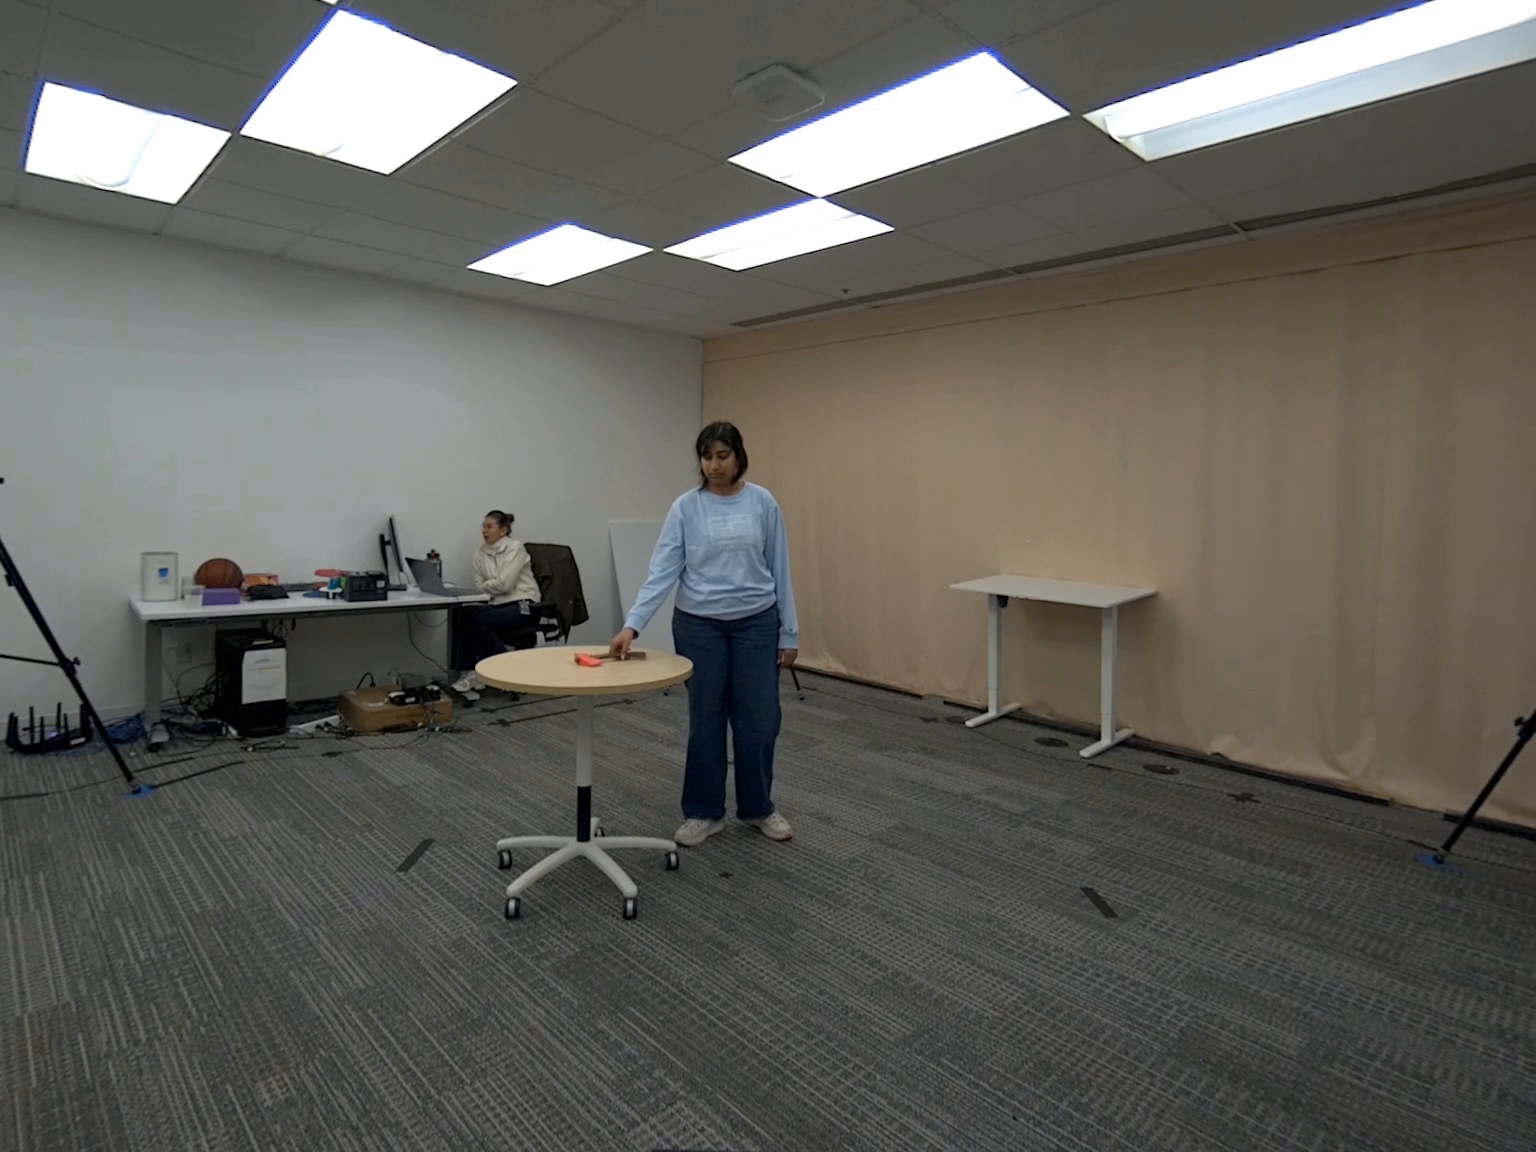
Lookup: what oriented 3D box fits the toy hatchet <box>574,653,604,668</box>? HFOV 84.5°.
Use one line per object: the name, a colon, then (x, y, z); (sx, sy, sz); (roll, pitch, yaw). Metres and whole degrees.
toy hatchet: (-0.572, 0.303, 3.039); (0.266, 0.029, 0.134); (1, 11, -18)
